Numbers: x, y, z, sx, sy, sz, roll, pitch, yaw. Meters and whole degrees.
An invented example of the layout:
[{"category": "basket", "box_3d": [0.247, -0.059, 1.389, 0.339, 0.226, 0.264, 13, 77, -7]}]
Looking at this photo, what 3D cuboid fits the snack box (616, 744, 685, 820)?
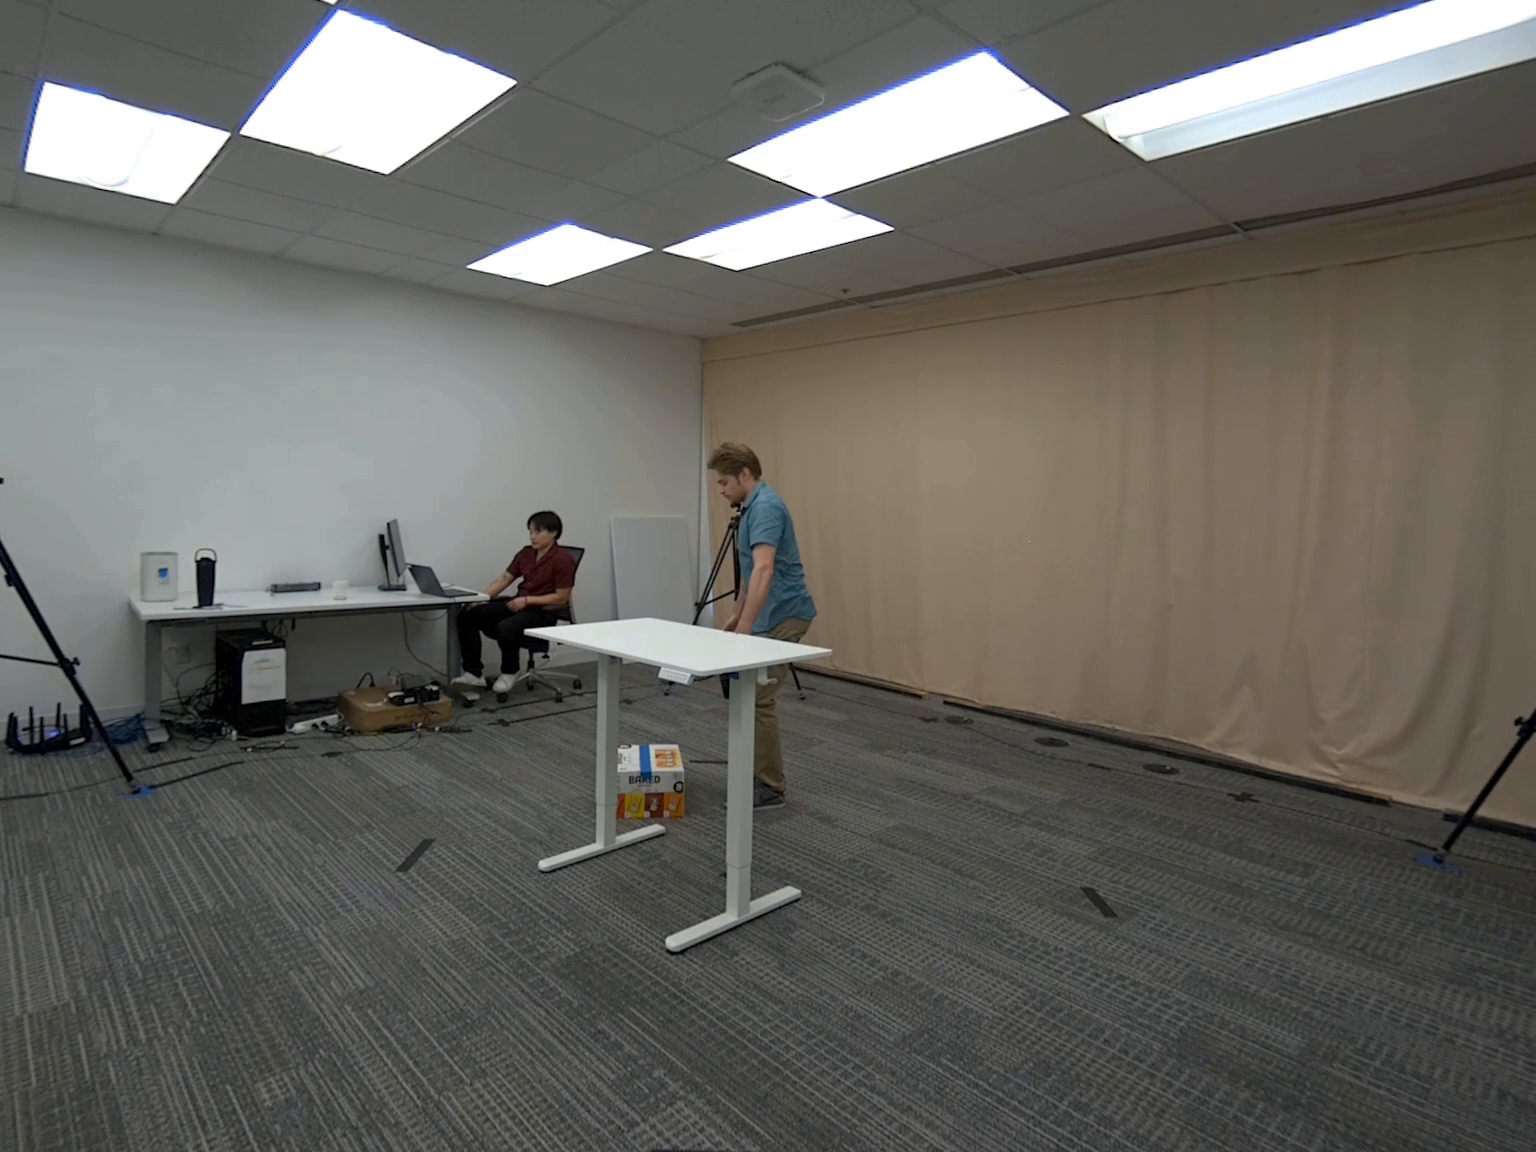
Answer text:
[{"category": "snack box", "box_3d": [-0.578, 0.930, 3.833, 0.338, 0.205, 0.409, 1, 5, -9]}]
